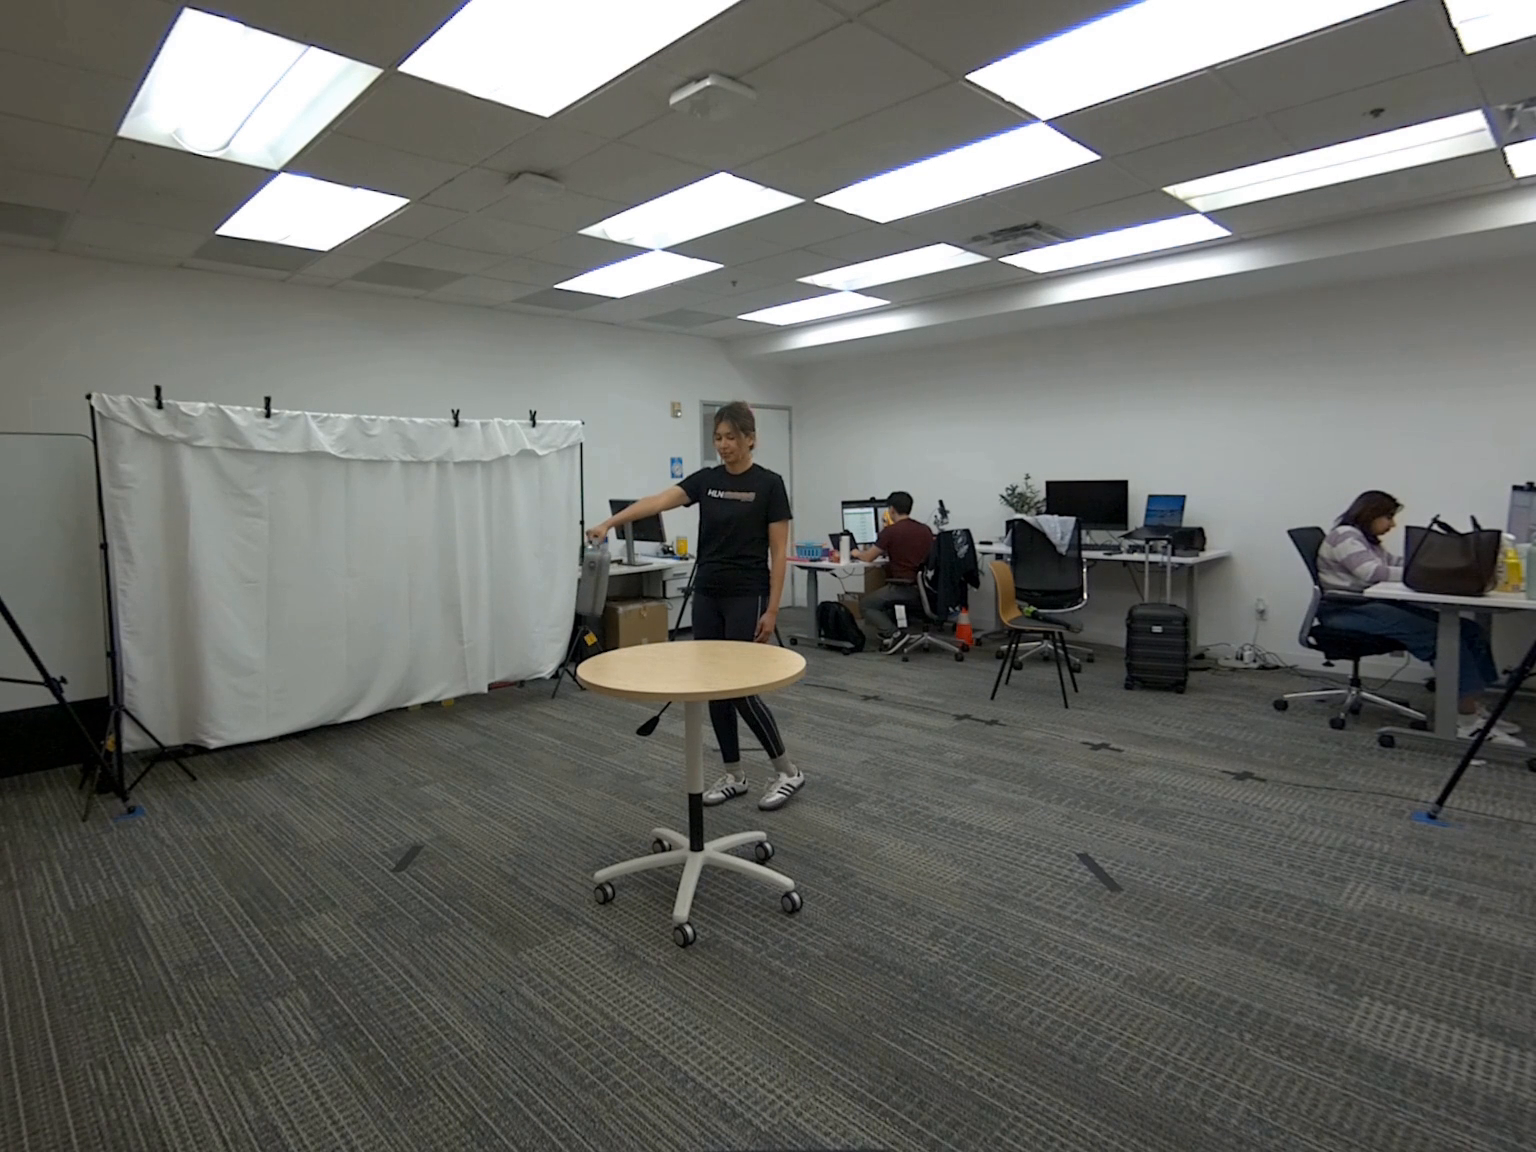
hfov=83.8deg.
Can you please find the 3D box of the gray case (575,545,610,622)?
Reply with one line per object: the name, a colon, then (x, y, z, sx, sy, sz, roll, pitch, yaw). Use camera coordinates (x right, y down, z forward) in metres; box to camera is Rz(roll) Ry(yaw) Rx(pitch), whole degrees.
gray case: (-0.695, 0.016, 3.434, 0.103, 0.260, 0.260, 8, 4, -10)
